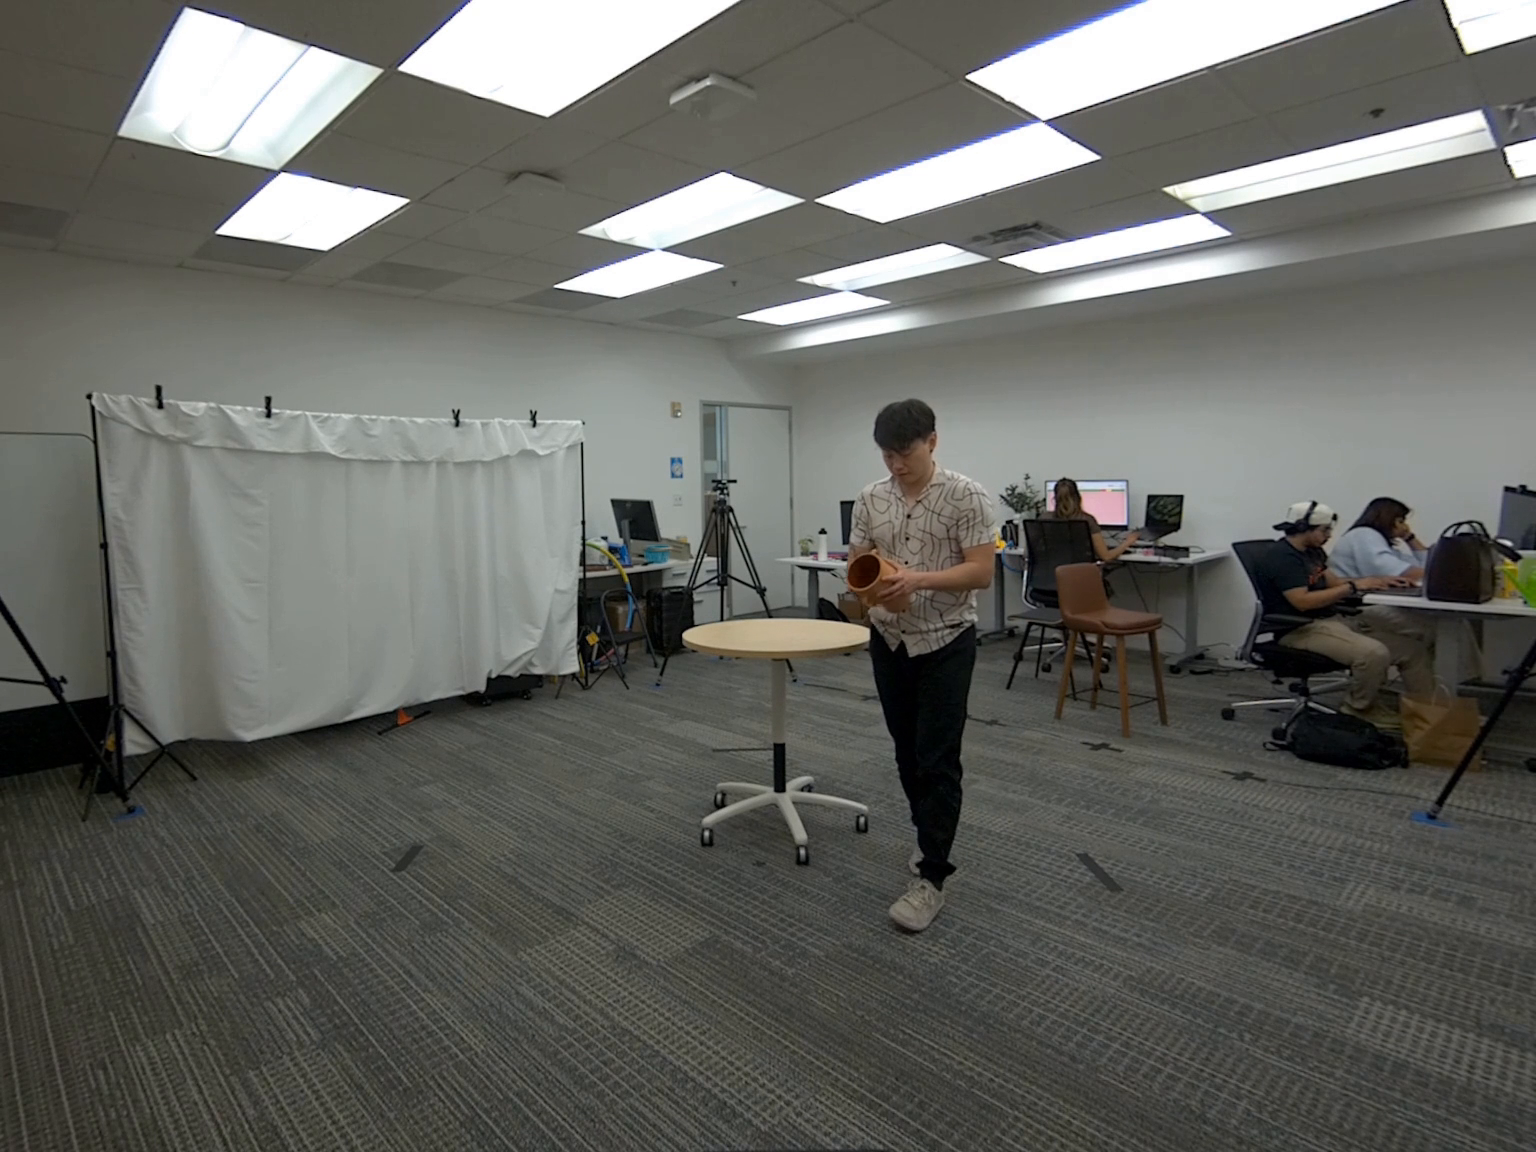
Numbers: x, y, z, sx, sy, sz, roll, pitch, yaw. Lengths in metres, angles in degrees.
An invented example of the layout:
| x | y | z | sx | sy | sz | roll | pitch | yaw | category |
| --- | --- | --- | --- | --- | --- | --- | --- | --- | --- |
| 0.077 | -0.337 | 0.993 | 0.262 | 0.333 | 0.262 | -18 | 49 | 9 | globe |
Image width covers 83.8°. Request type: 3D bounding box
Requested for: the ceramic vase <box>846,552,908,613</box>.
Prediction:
| x | y | z | sx | sy | sz | roll | pitch | yaw | category |
| --- | --- | --- | --- | --- | --- | --- | --- | --- | --- |
| 0.362 | 0.032 | 2.735 | 0.211 | 0.159 | 0.140 | 36 | 9 | -42 | ceramic vase |
